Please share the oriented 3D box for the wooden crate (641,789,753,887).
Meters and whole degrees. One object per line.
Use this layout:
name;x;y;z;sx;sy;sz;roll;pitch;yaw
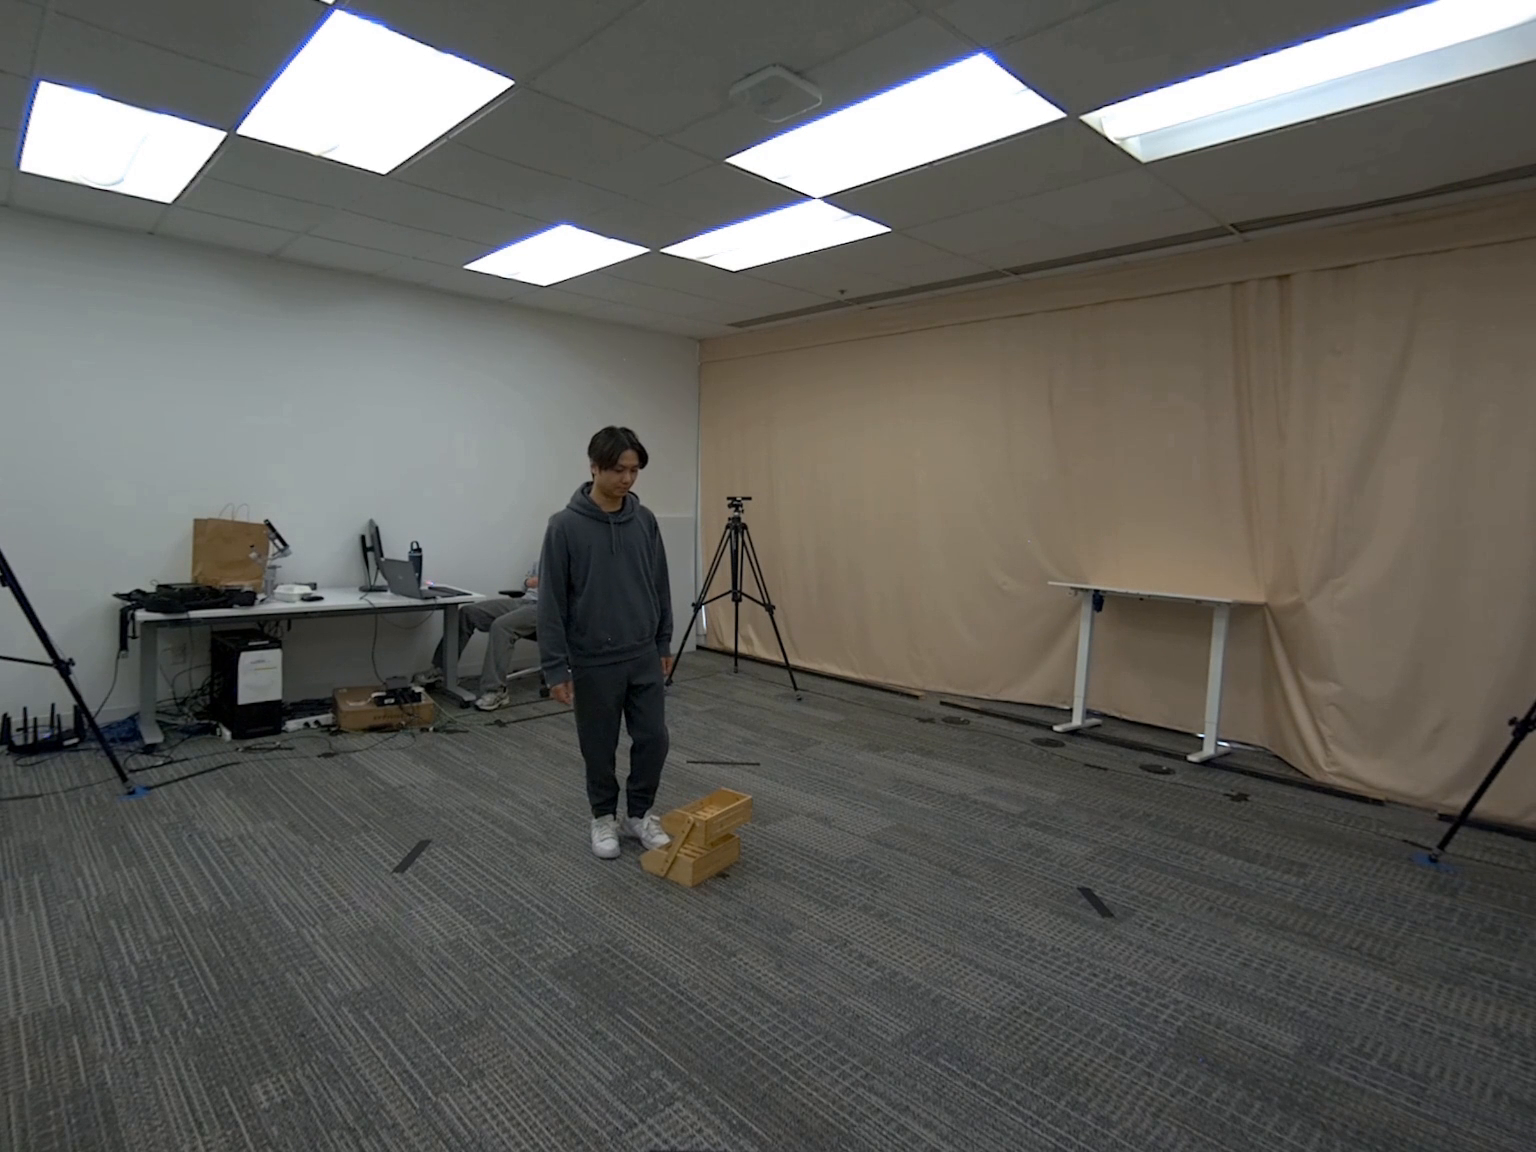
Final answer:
wooden crate;-0.277;0.963;3.175;0.309;0.272;0.318;5;6;34
